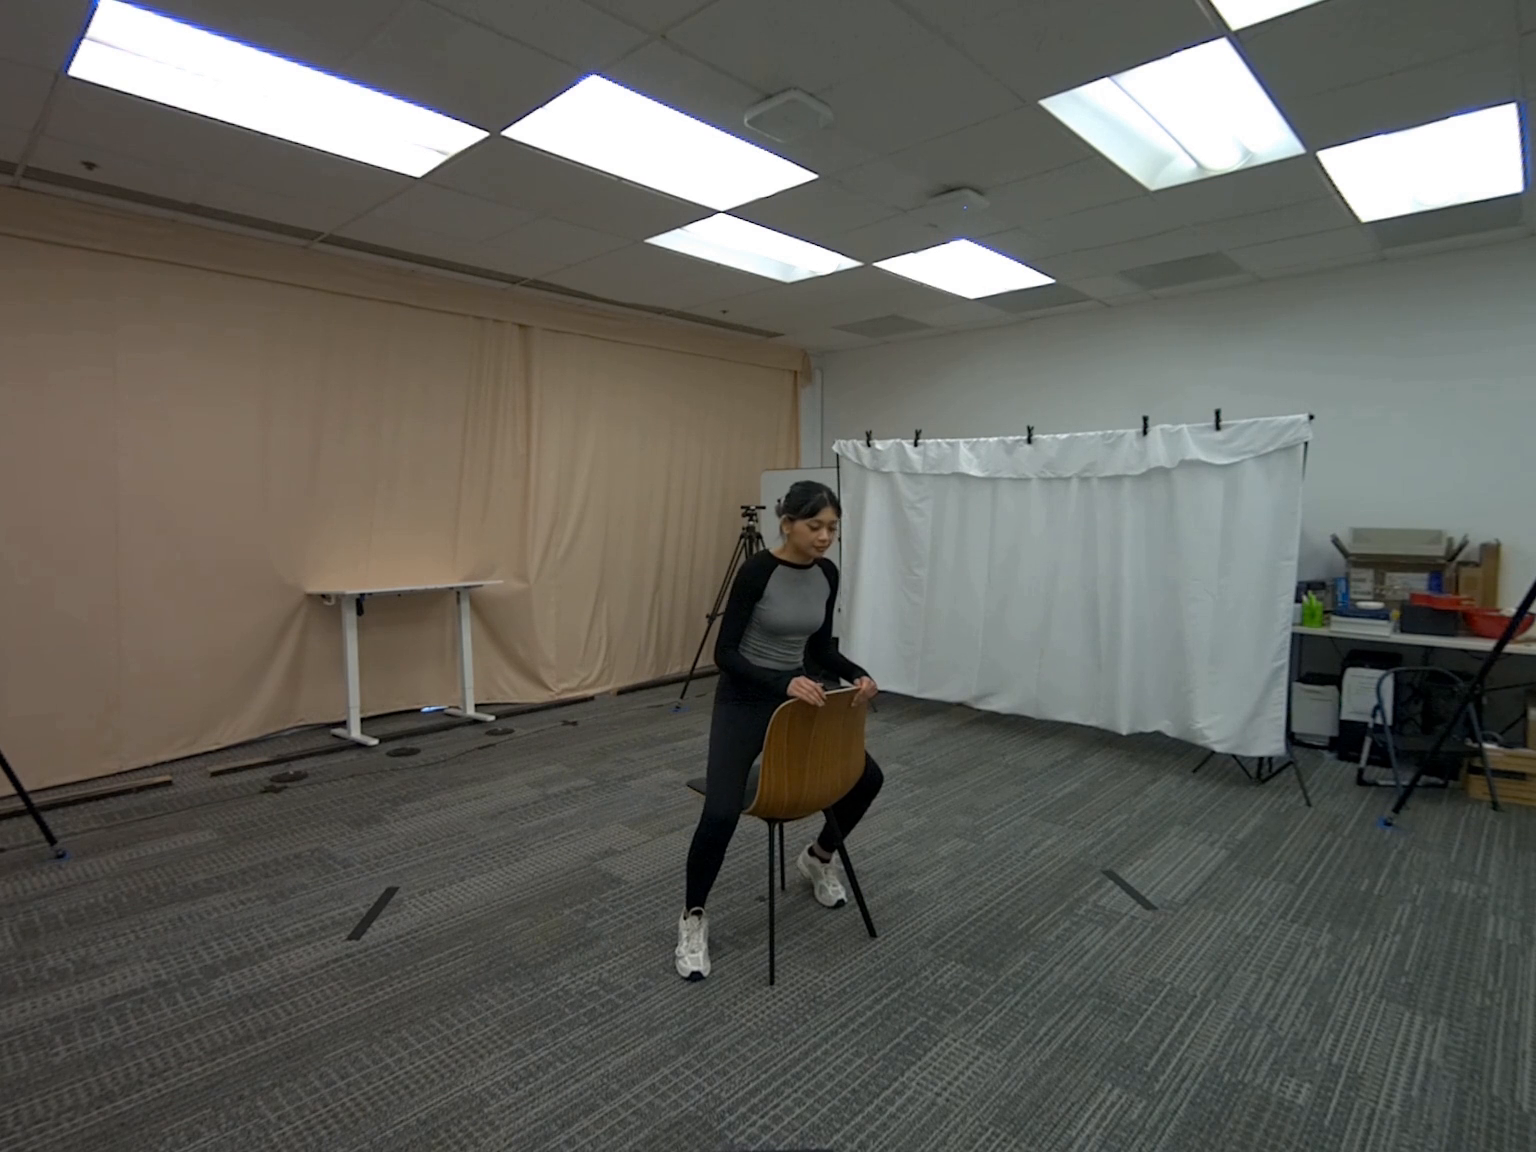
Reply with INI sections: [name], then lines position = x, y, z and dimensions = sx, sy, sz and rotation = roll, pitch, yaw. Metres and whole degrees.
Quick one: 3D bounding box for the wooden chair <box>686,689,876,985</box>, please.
[wooden chair]
position = 0.025, 0.738, 2.732
dimensions = 0.464, 0.874, 0.541
rotation = -3, 9, -39
